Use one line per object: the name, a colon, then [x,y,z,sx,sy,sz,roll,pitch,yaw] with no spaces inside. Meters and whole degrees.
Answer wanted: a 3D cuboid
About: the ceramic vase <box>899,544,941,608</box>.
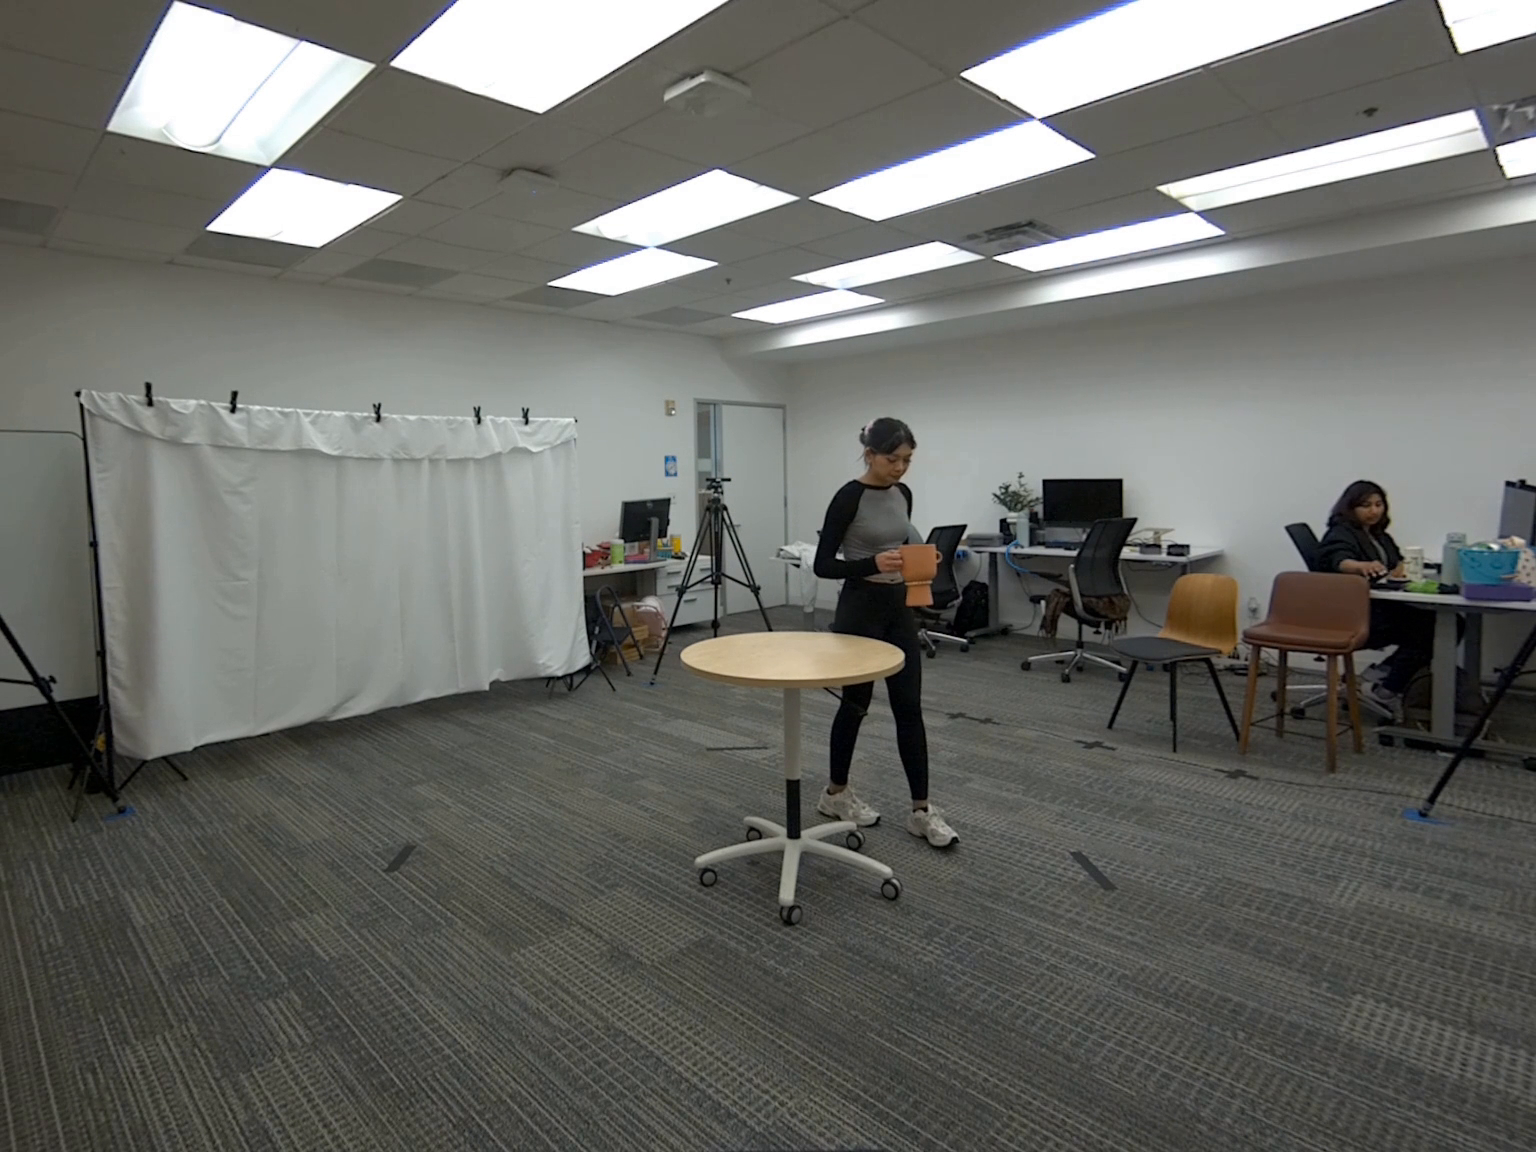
ceramic vase: [0.545,-0.002,3.144,0.162,0.220,0.131,-3,-1,26]
